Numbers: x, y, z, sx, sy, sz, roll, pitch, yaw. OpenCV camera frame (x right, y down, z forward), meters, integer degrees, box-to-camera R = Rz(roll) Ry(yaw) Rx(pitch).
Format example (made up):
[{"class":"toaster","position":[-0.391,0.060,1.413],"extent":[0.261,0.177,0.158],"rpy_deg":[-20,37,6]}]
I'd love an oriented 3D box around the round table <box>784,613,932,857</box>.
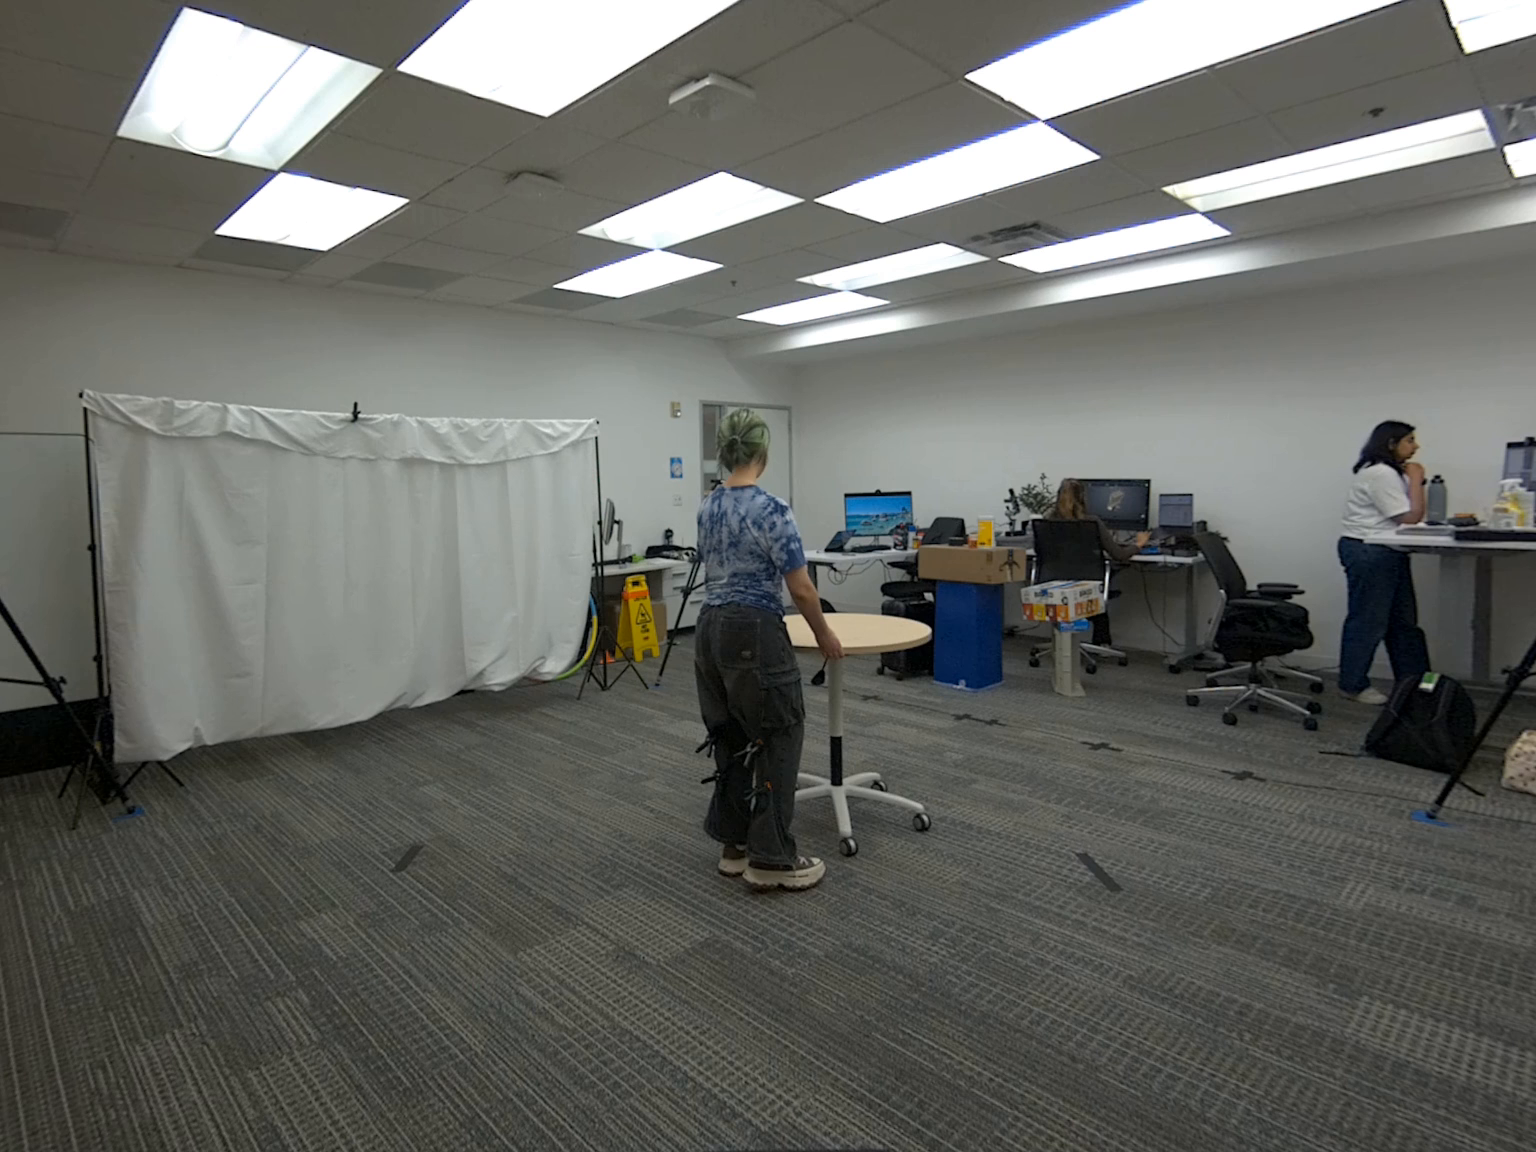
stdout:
[{"class":"round table","position":[0.280,0.608,3.487],"extent":[0.763,0.791,0.768],"rpy_deg":[-1,5,-2]}]
